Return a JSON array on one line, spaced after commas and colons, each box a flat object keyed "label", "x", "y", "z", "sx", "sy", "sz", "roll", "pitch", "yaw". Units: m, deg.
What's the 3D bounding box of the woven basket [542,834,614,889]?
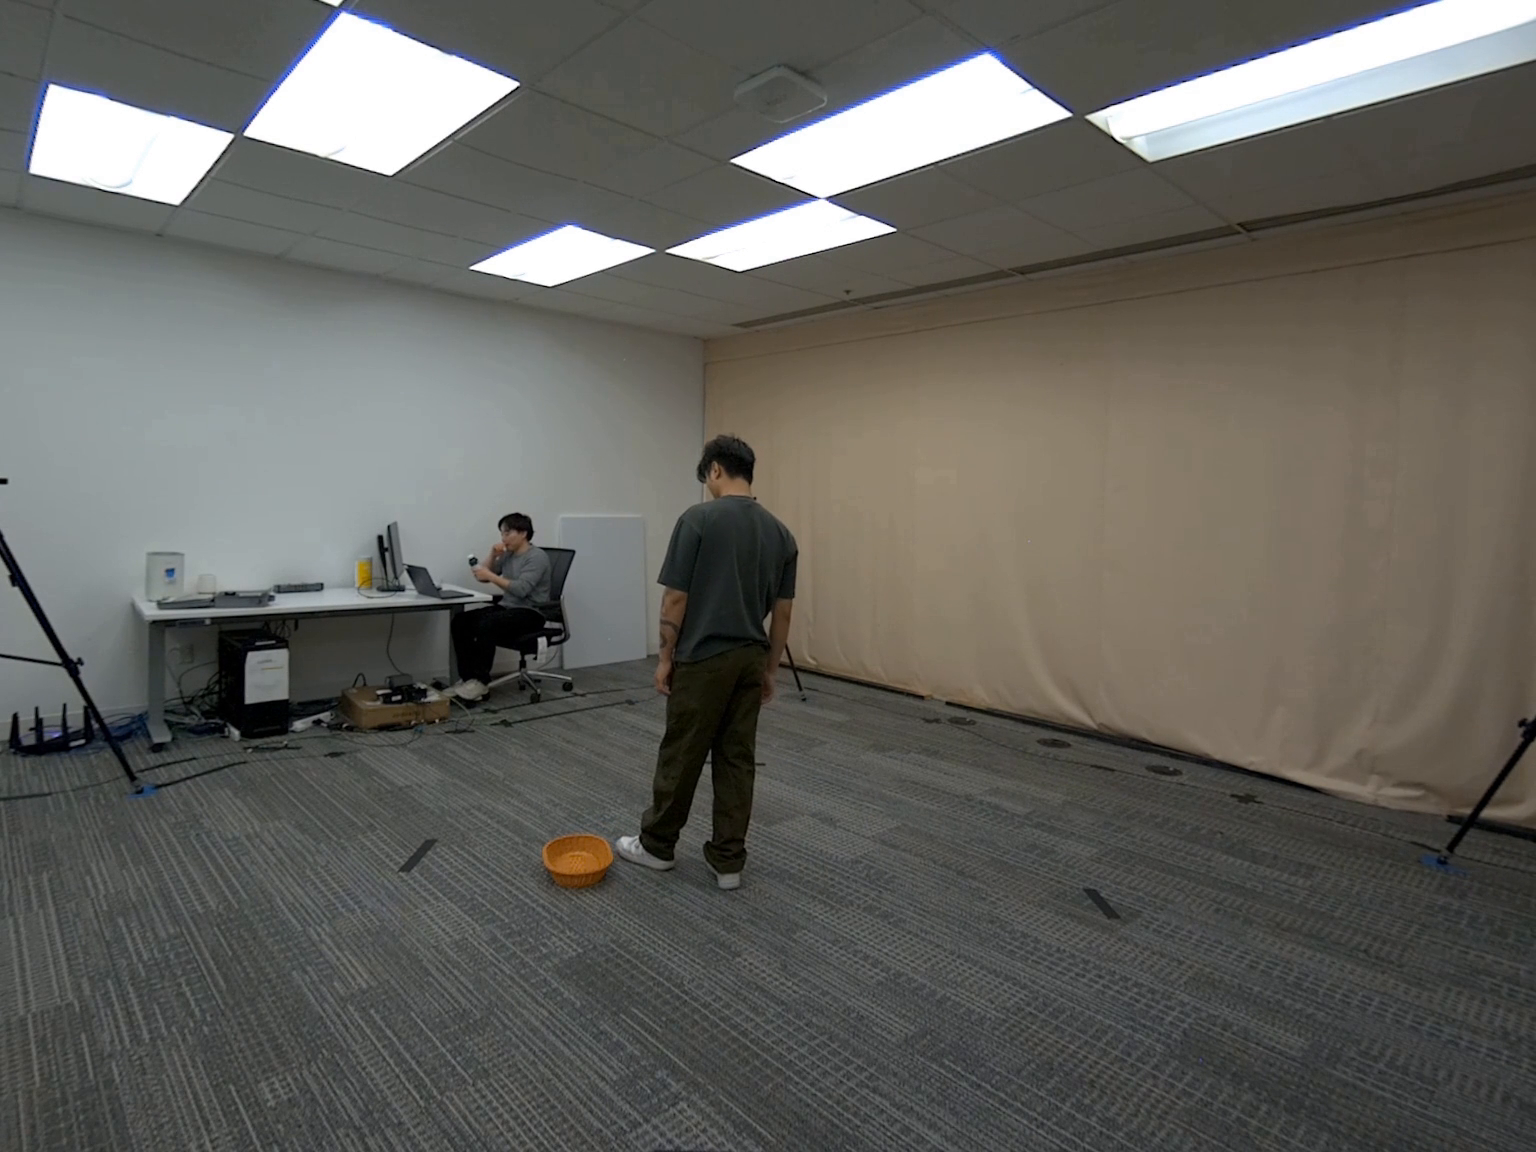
[{"label": "woven basket", "x": -0.706, "y": 1.050, "z": 3.112, "sx": 0.249, "sy": 0.073, "sz": 0.356, "roll": -1, "pitch": 6, "yaw": -18}]
